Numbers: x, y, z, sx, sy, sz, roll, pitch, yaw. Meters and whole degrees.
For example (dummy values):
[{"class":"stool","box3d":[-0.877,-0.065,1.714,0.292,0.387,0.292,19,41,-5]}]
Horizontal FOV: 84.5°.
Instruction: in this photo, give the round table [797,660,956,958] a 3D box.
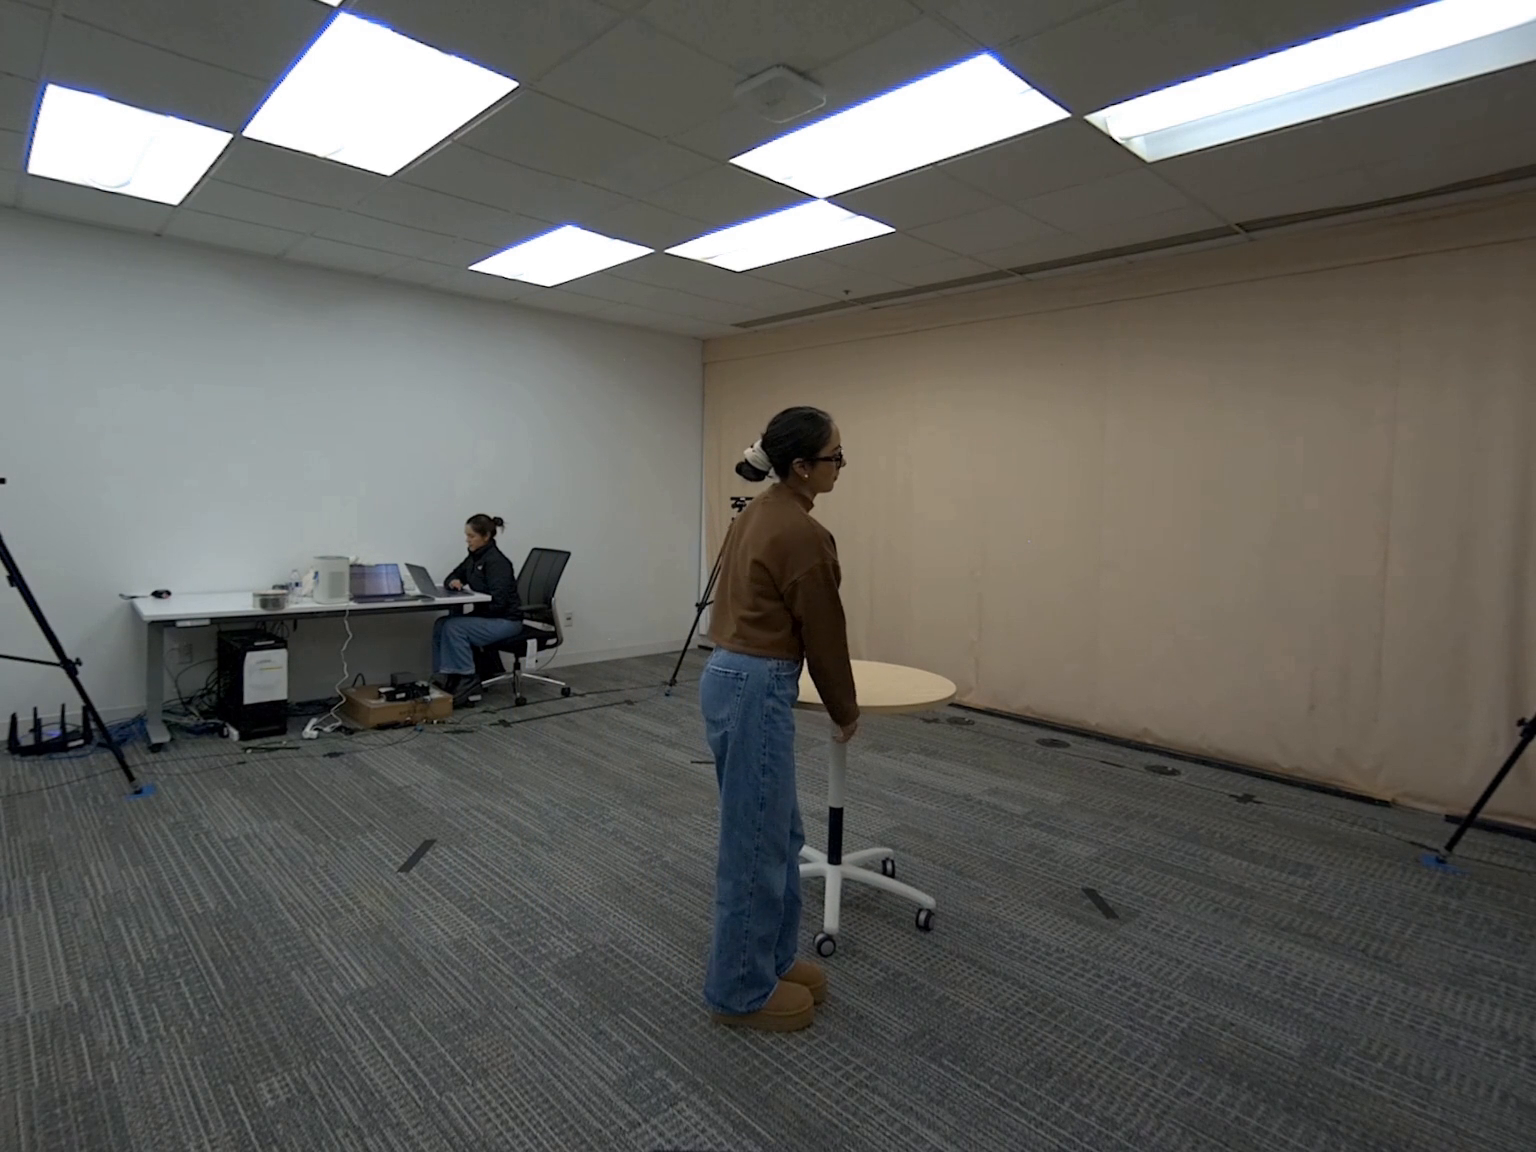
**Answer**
[{"class":"round table","box3d":[0.228,0.740,2.911,0.784,0.784,0.788,2,4,-2]}]
